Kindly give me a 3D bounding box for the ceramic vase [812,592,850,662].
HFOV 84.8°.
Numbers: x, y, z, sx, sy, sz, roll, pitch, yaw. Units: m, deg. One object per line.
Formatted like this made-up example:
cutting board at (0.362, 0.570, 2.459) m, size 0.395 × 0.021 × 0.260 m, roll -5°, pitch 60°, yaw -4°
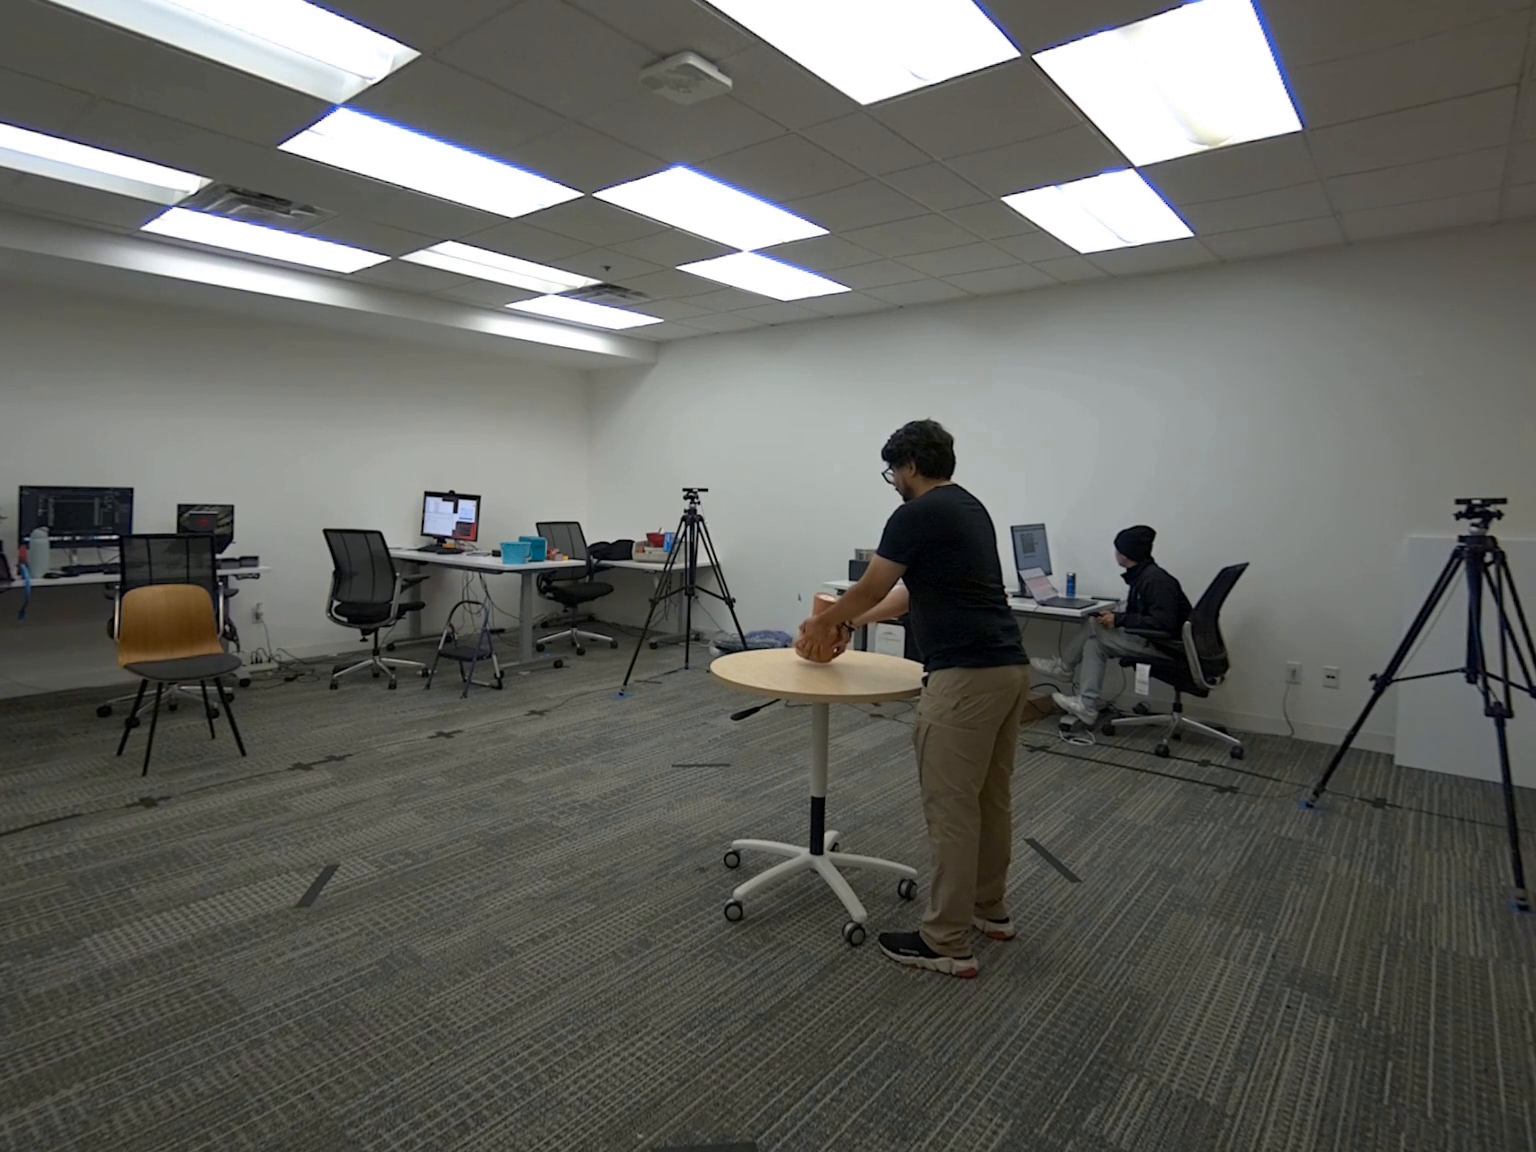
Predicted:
ceramic vase at (0.181, 0.171, 2.960) m, size 0.137 × 0.217 × 0.158 m, roll 16°, pitch 14°, yaw 12°
